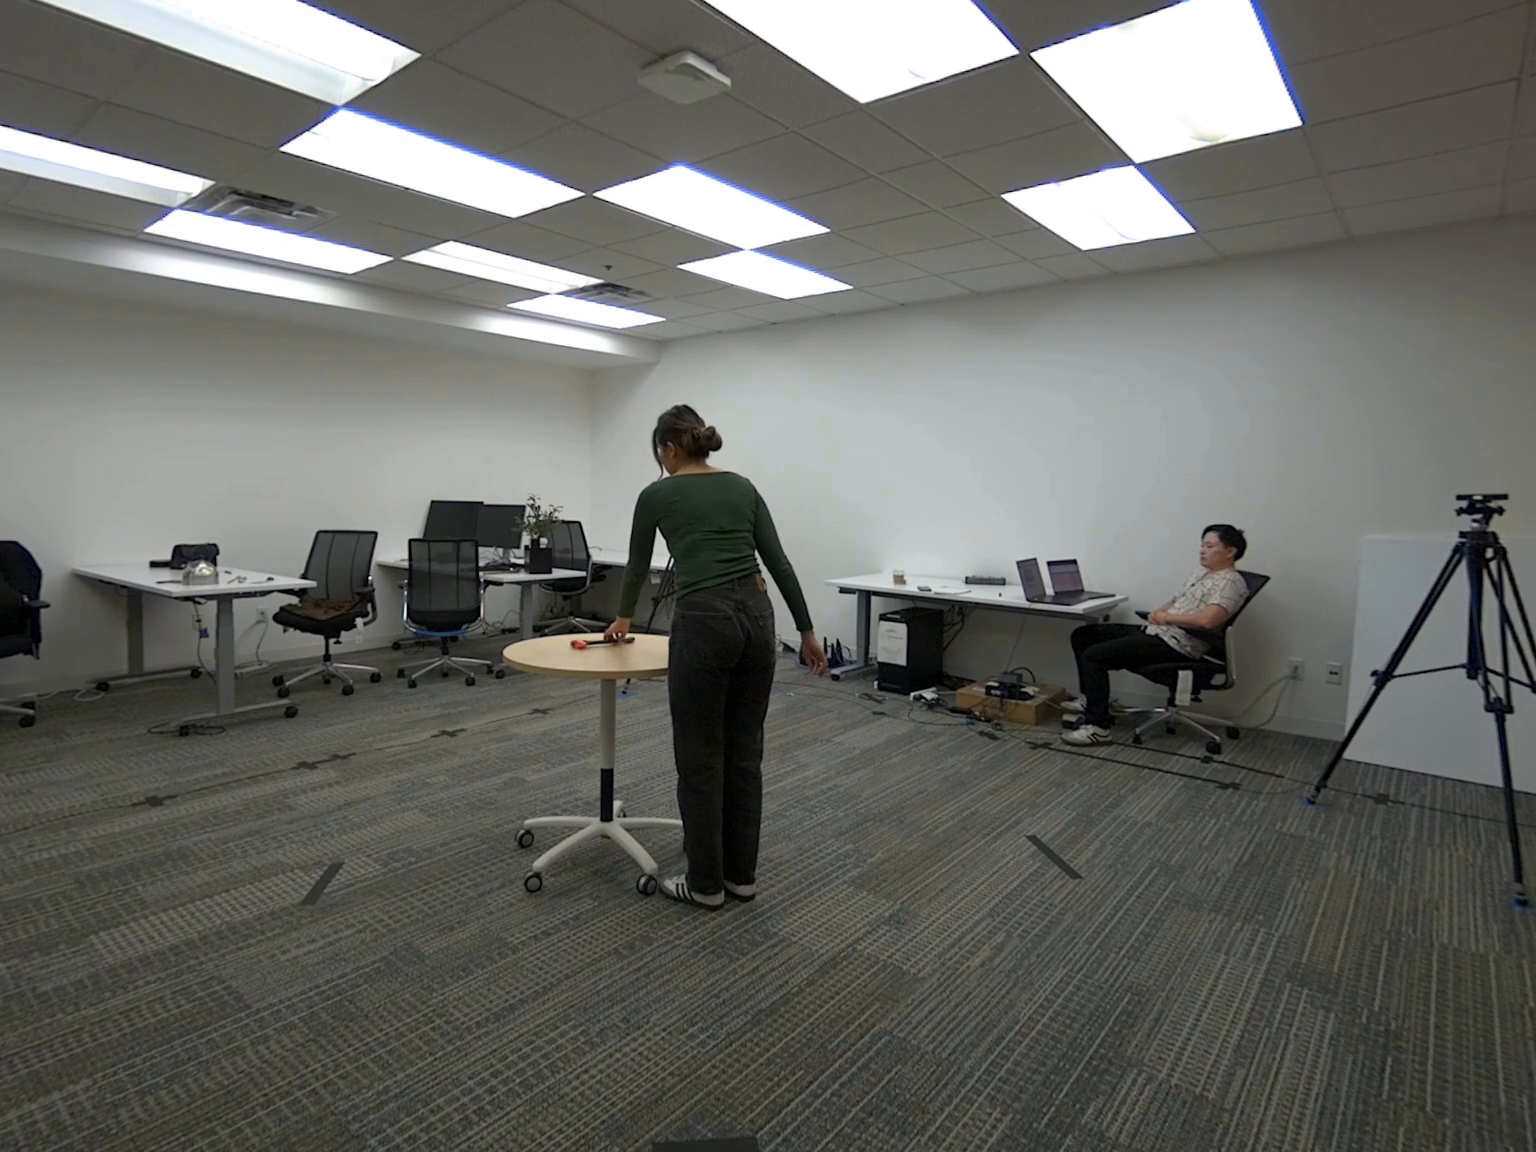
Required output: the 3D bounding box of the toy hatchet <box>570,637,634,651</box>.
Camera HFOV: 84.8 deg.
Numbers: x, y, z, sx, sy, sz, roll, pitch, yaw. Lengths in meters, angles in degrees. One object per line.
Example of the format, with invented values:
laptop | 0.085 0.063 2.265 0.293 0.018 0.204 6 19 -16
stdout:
toy hatchet | -0.644 0.252 3.269 0.135 0.030 0.261 -5 -3 38
